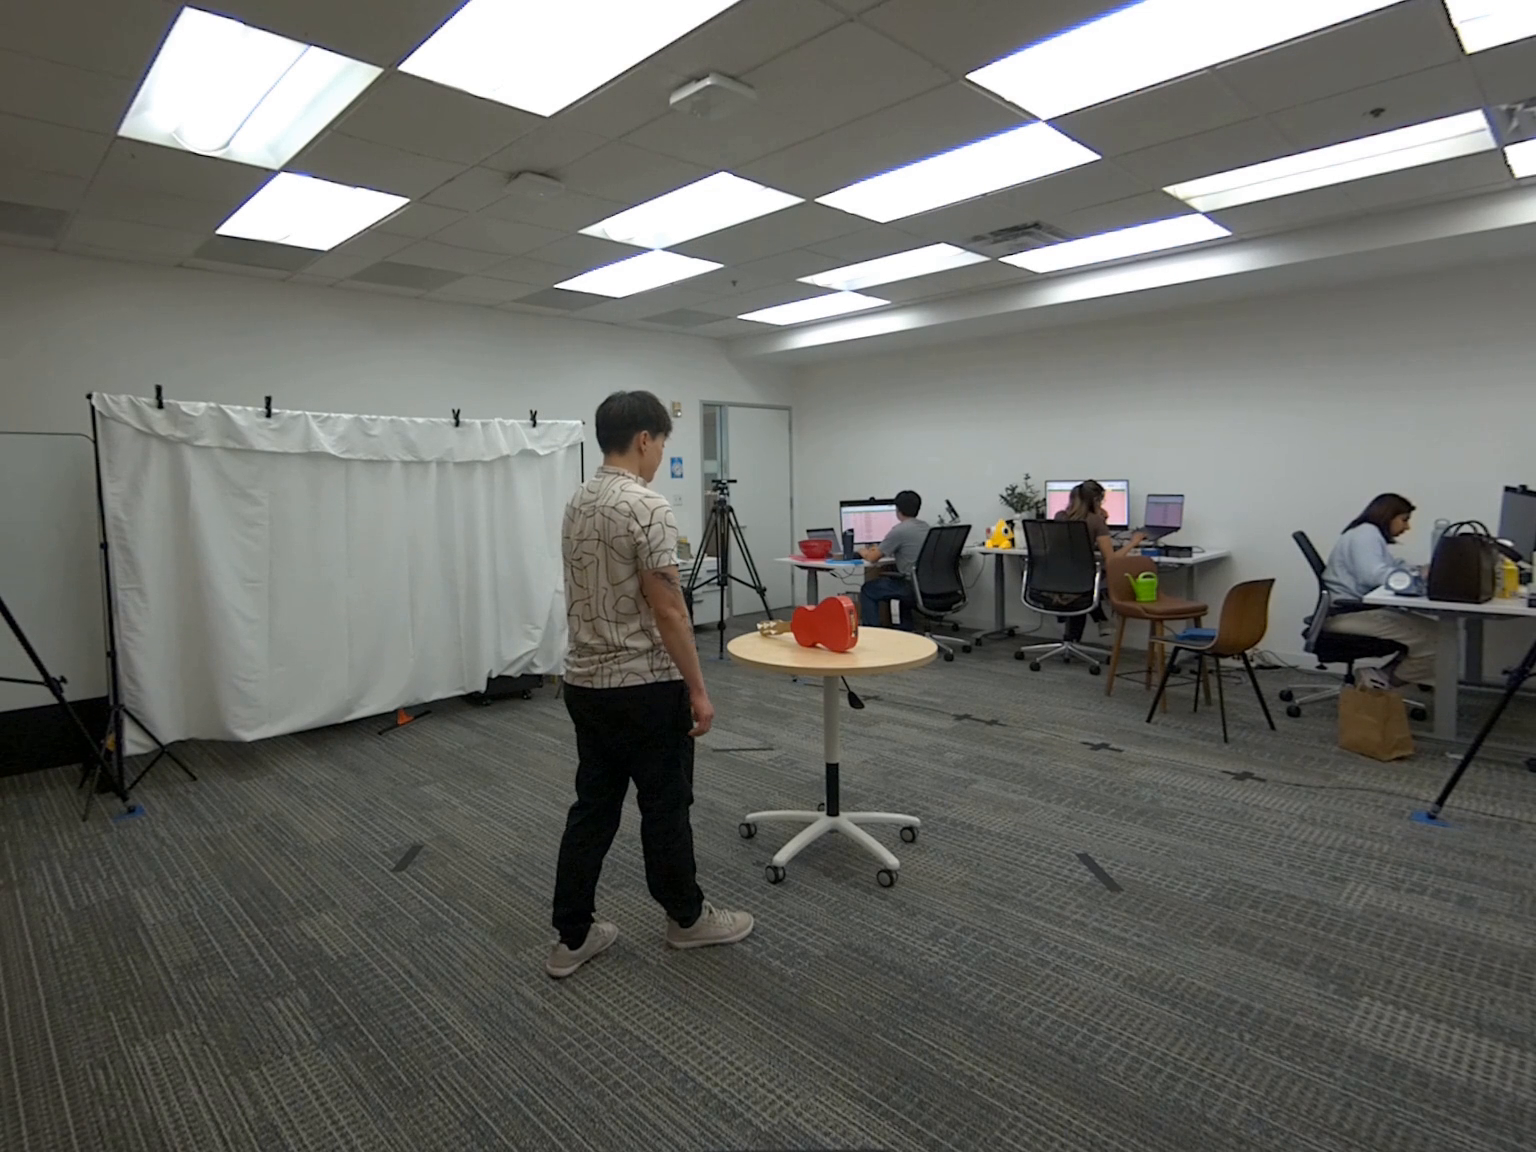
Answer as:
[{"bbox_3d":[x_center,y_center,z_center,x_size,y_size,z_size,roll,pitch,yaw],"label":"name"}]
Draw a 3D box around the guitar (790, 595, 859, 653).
[{"bbox_3d":[0.132,0.215,3.156,0.069,0.195,0.506,-4,-12,-43],"label":"guitar"}]
